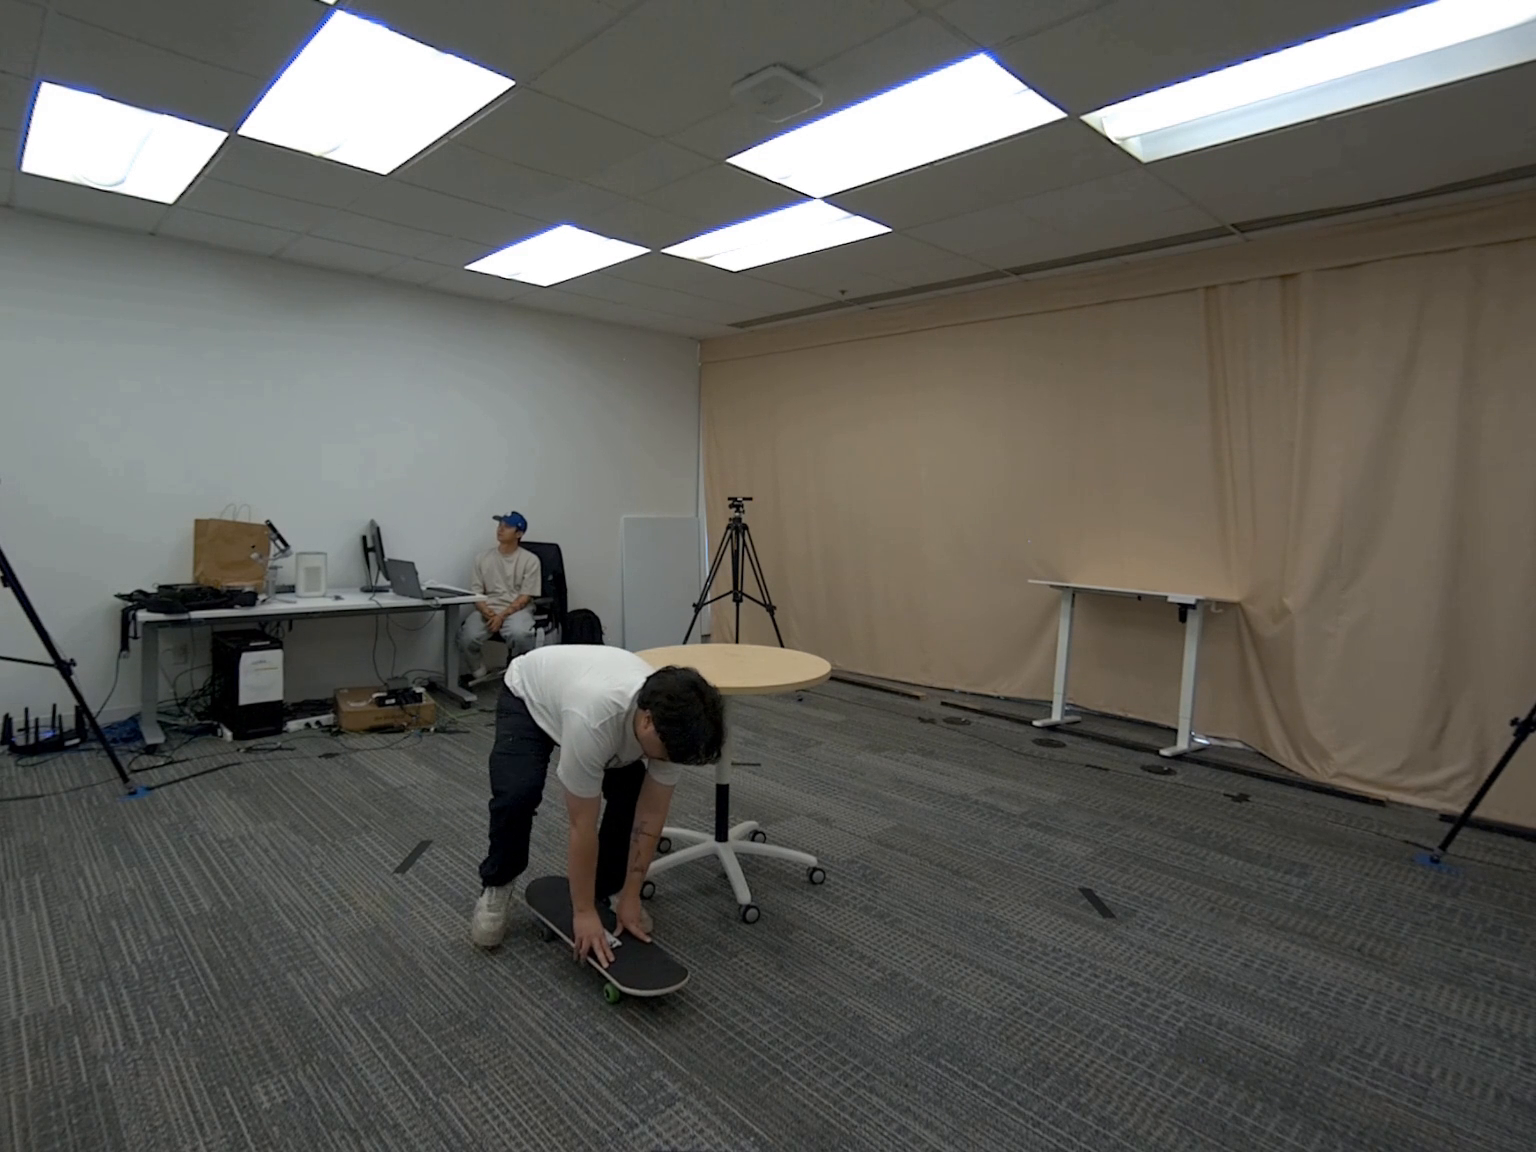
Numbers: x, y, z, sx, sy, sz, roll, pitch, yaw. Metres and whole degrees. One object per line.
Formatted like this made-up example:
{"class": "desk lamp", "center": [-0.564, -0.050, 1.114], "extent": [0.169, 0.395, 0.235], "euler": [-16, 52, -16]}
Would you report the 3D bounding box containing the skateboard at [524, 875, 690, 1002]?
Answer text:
{"class": "skateboard", "center": [-0.512, 1.110, 2.508], "extent": [0.189, 0.110, 0.805], "euler": [-3, 6, -40]}
